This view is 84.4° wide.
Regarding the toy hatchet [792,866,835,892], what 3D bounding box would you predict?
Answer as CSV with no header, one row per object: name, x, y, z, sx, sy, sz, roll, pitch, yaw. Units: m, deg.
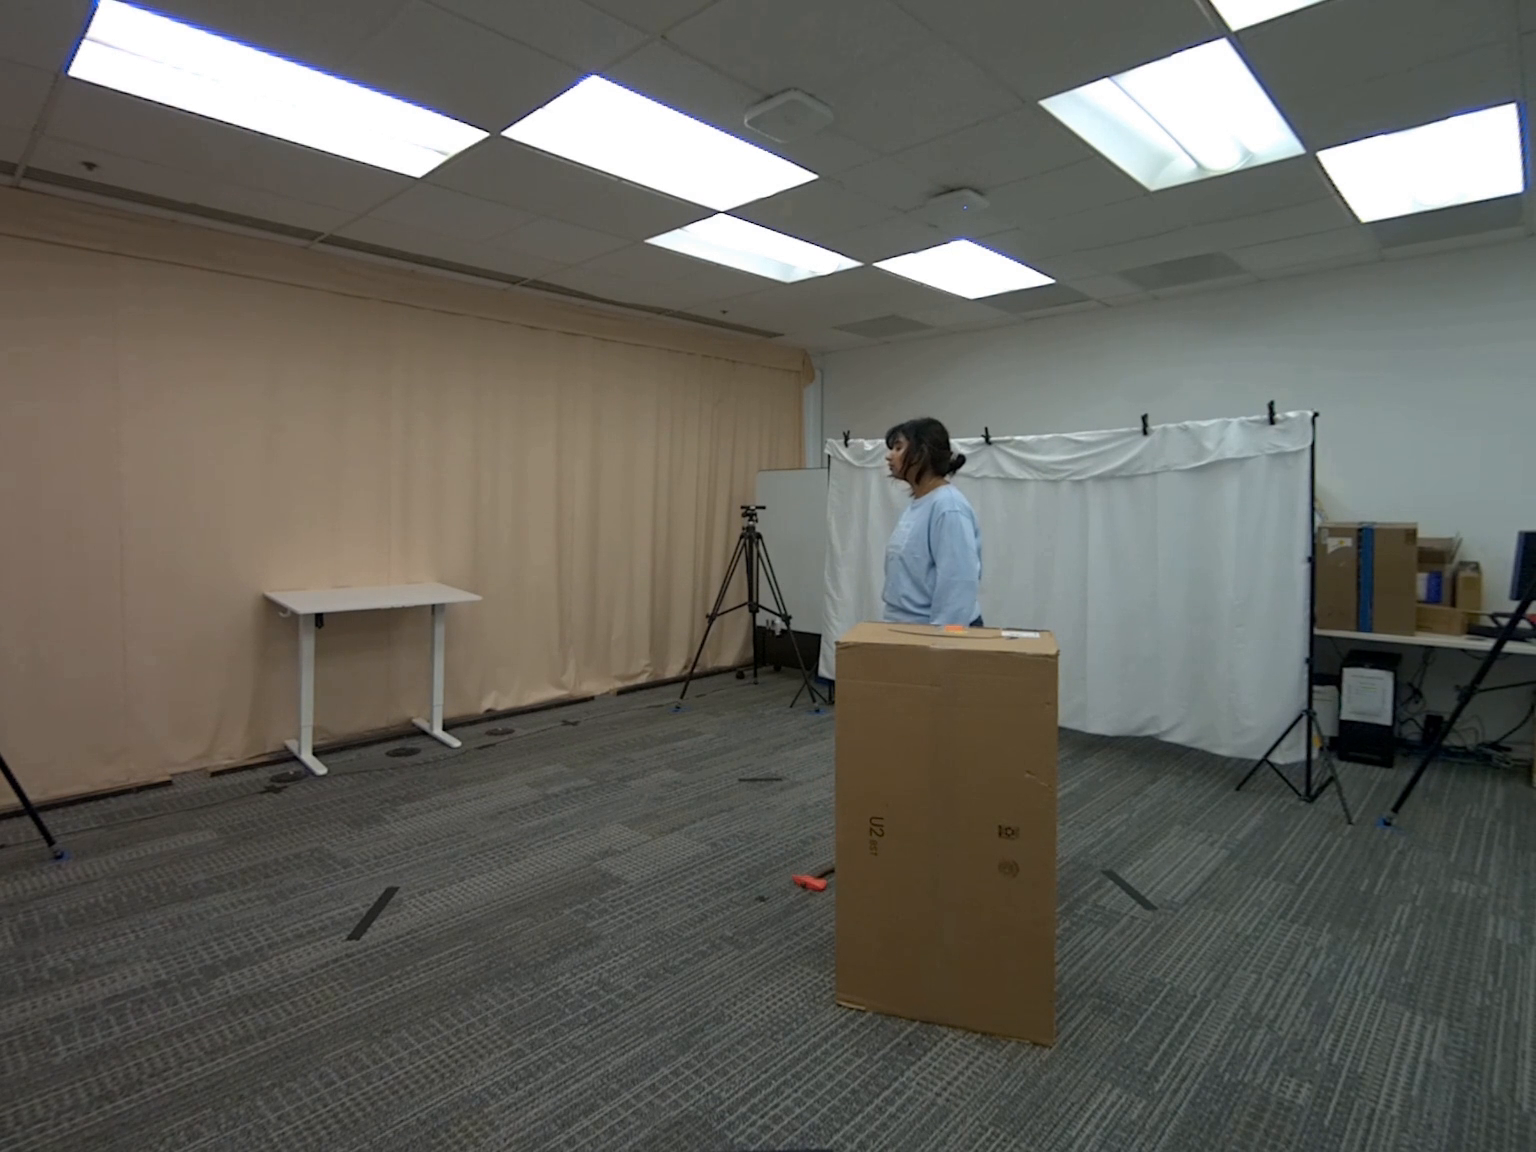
toy hatchet,0.230,1.125,3.137,0.262,0.029,0.135,-2,5,-34
